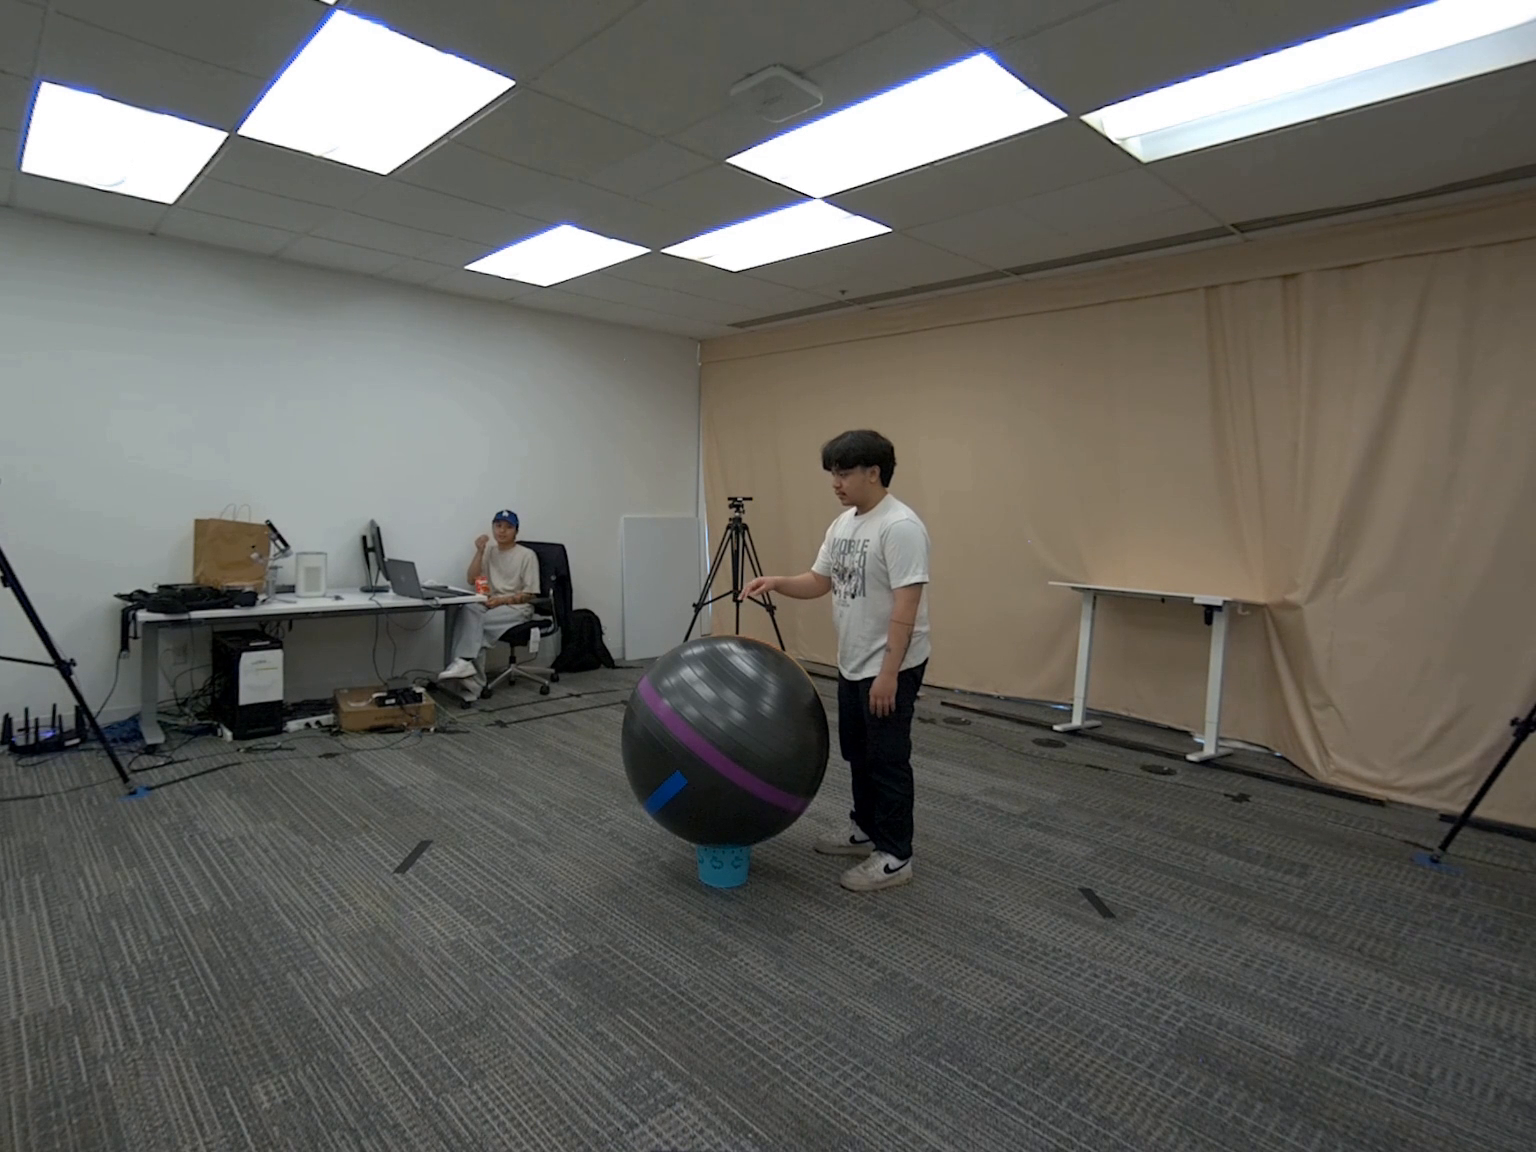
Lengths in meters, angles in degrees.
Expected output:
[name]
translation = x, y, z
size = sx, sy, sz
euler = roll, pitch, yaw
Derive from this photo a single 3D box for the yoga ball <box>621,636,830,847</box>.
[yoga ball]
translation = -0.162, 0.599, 3.090
size = 0.757, 0.756, 0.761
euler = 1, 4, -1
